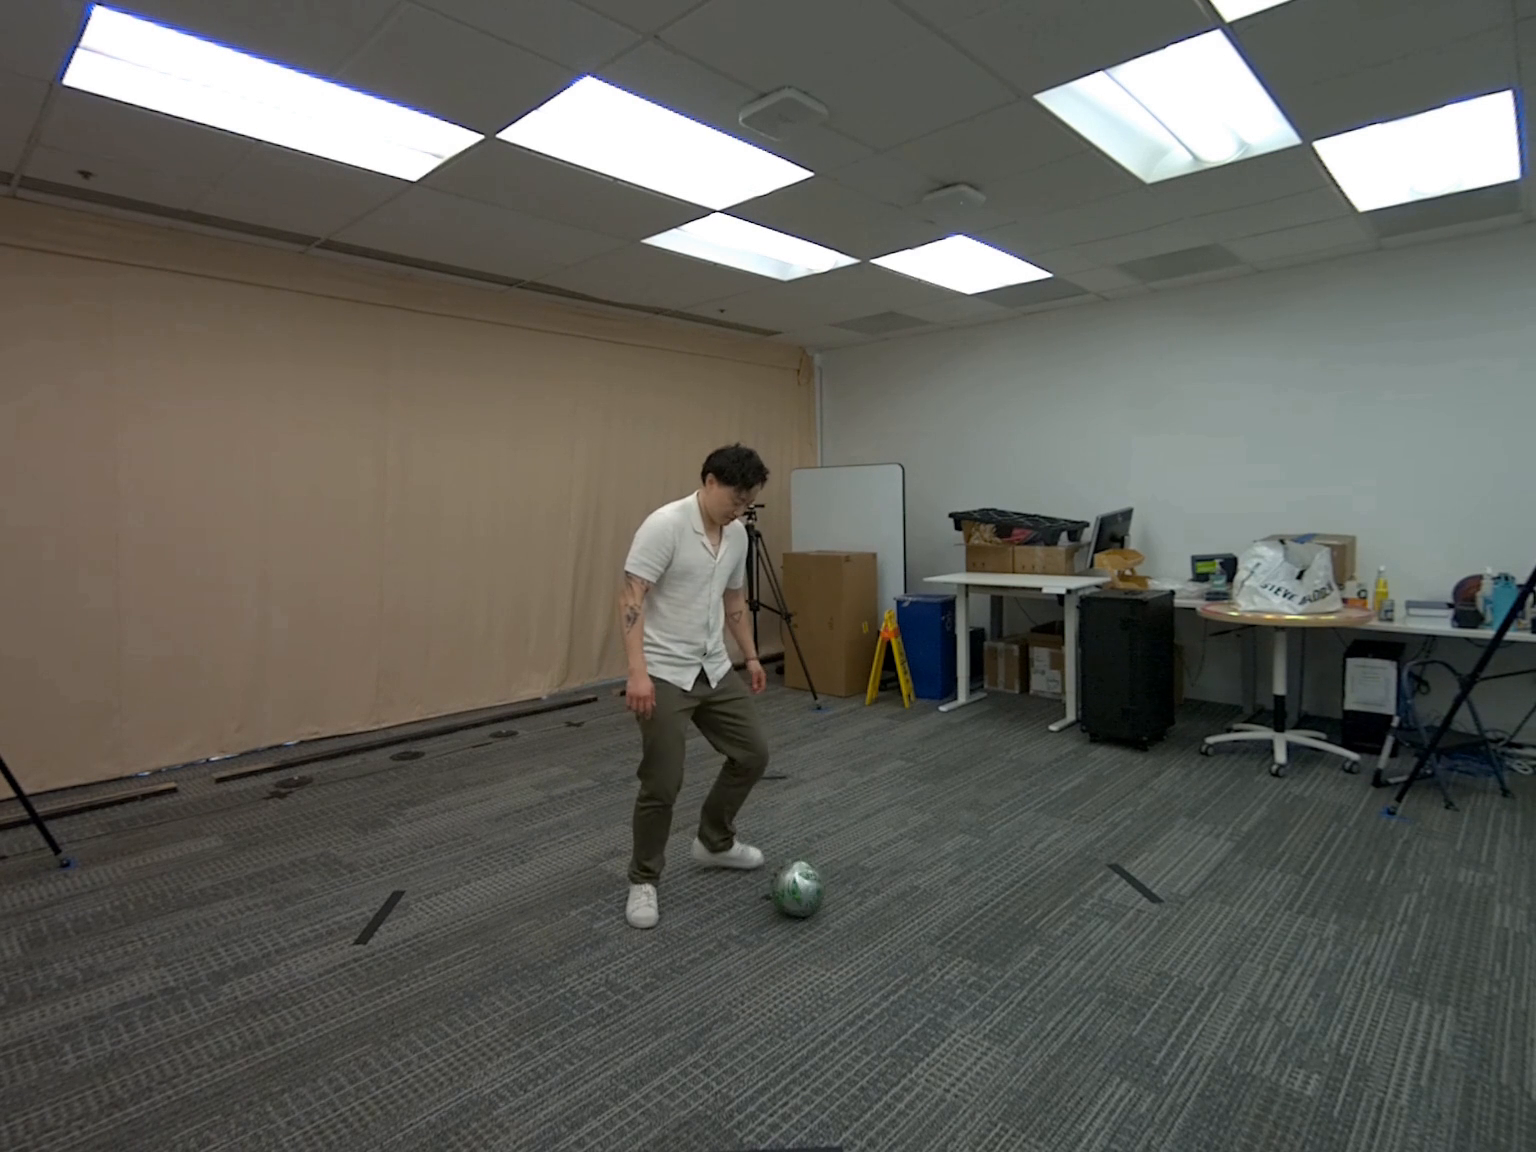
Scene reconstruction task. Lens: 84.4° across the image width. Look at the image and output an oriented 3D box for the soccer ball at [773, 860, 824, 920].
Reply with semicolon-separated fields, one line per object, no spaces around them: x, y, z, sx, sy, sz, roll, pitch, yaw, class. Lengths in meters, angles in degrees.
0.105;1.053;2.852;0.187;0.187;0.188;-1;4;-2;soccer ball
